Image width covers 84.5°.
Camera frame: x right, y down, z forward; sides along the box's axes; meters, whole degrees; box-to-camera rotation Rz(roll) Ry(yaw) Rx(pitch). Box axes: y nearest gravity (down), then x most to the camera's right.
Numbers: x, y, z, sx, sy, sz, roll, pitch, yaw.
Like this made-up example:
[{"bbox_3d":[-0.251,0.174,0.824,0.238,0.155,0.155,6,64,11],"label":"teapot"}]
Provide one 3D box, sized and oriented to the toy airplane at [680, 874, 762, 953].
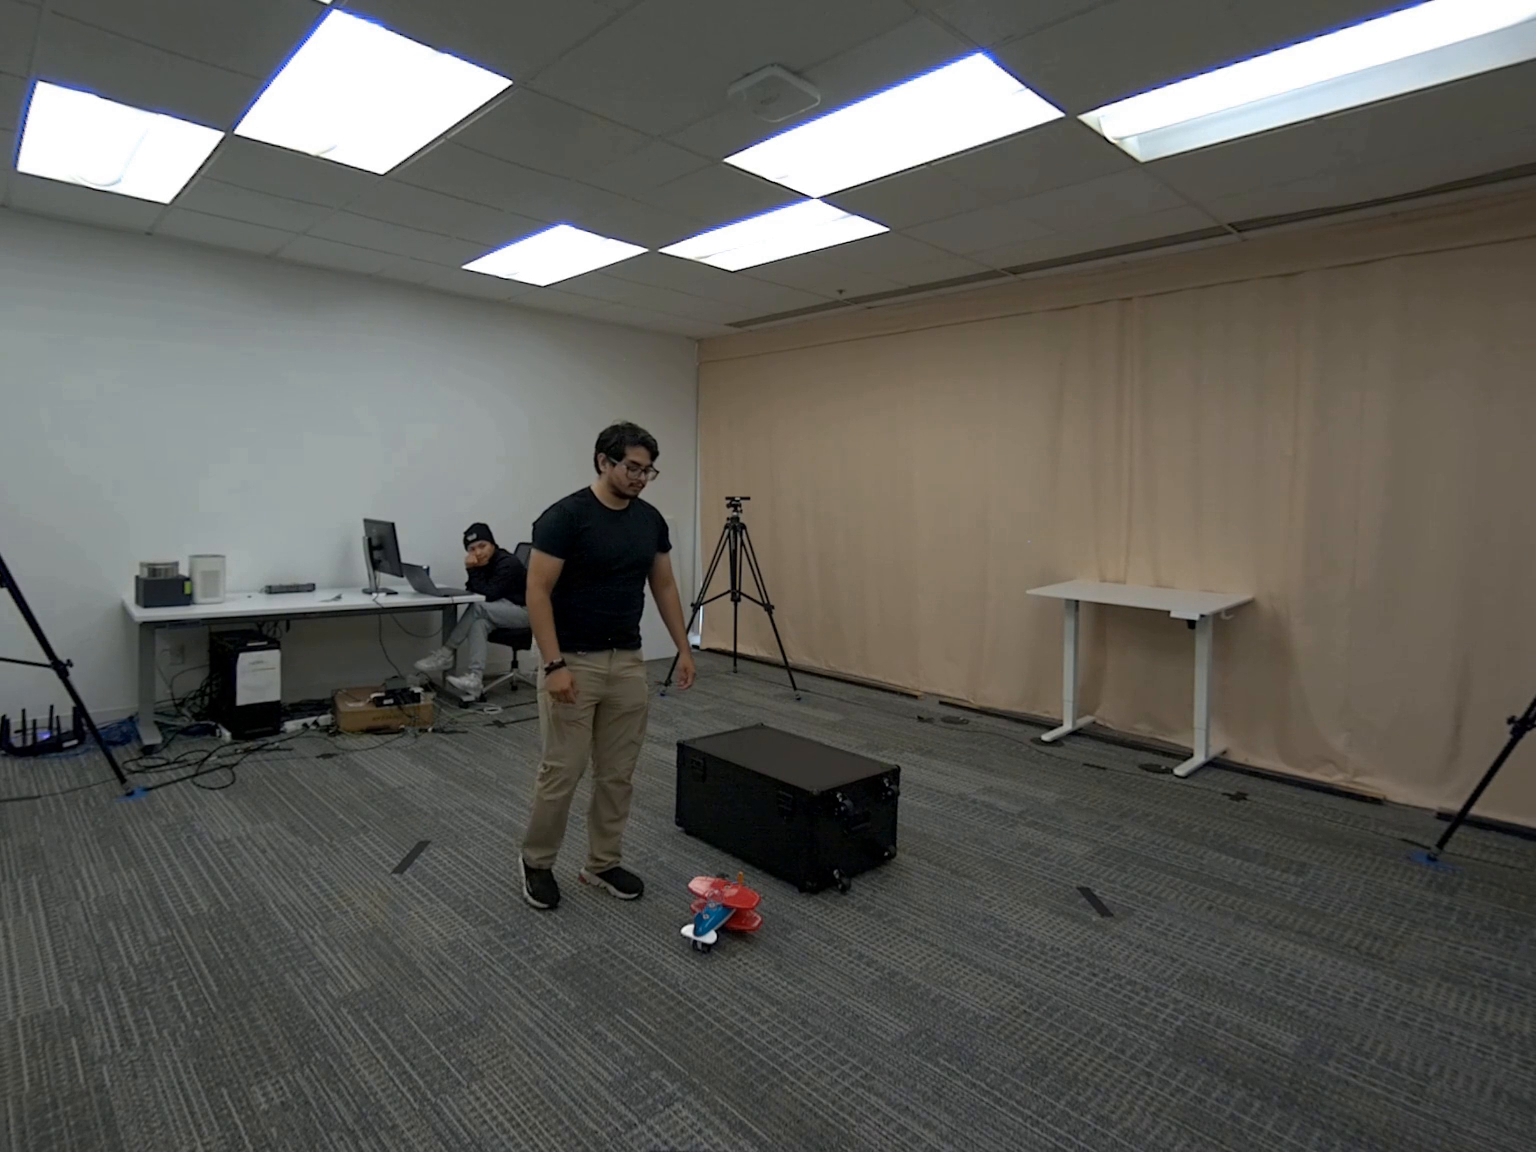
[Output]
[{"bbox_3d":[-0.151,1.074,2.653,0.252,0.156,0.259,1,3,2],"label":"toy airplane"}]
